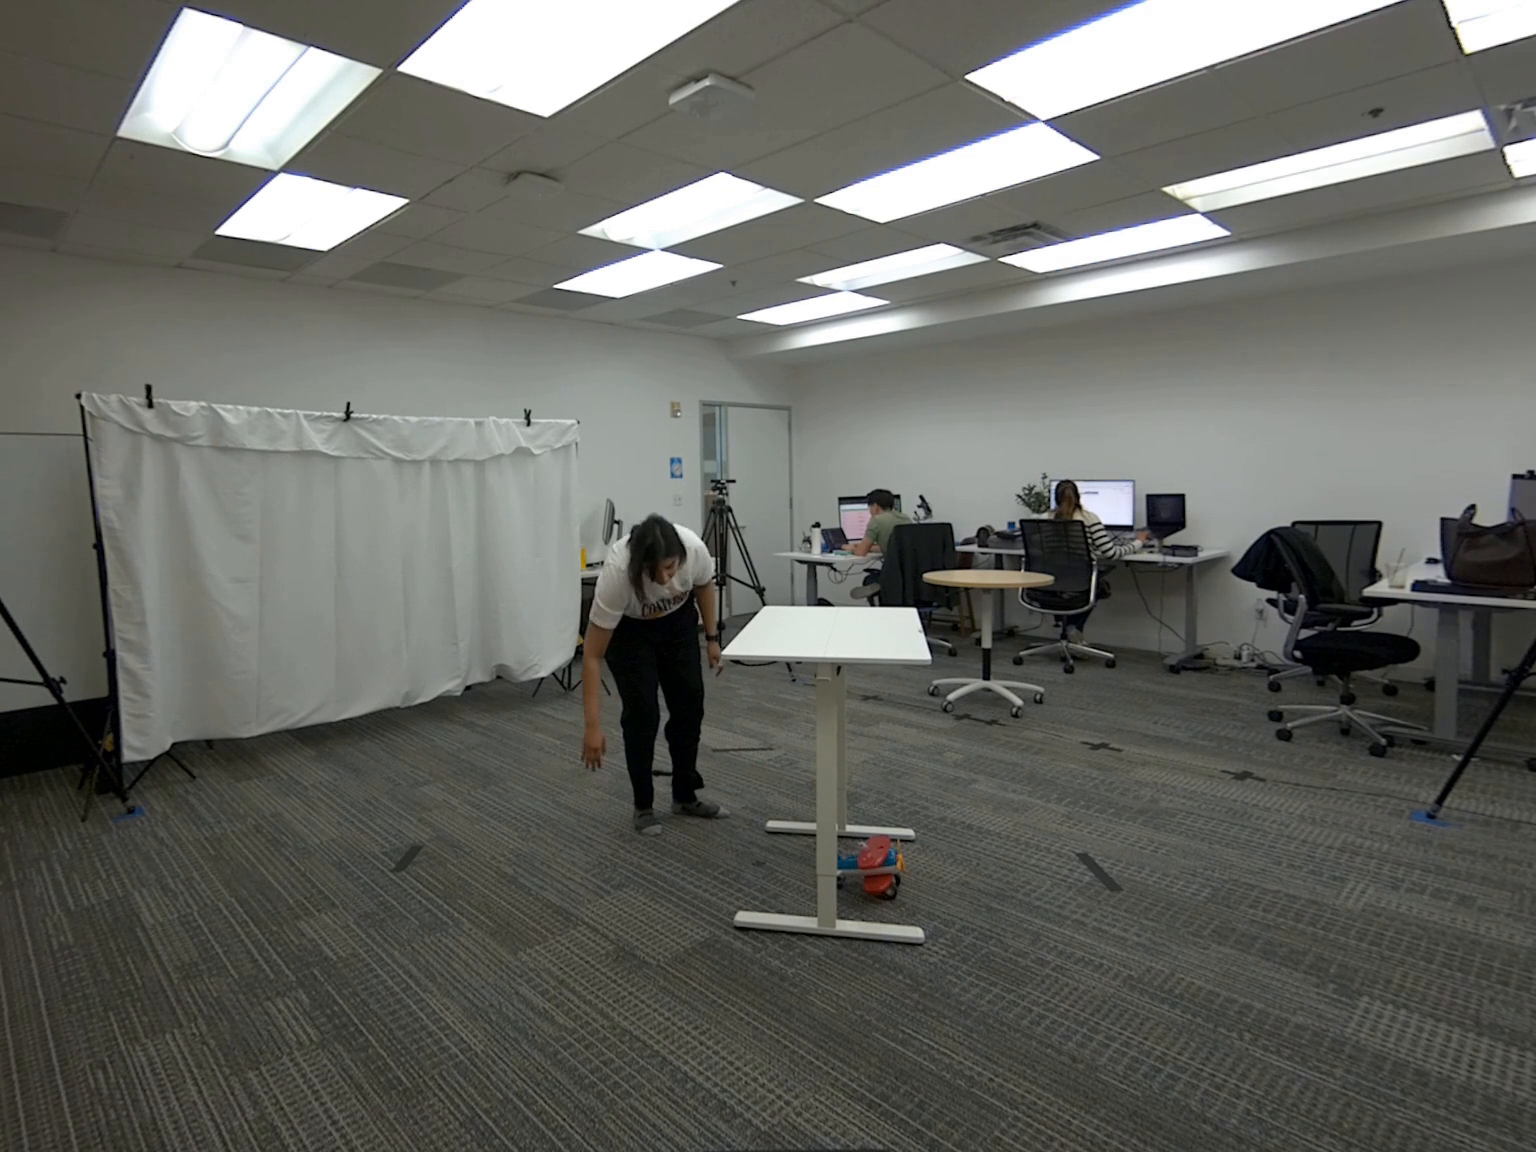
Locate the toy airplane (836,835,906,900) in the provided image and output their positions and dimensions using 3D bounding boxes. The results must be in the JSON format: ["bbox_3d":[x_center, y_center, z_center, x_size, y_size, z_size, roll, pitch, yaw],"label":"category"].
[{"bbox_3d":[0.335,0.992,2.879,0.257,0.156,0.254,-1,5,-10],"label":"toy airplane"}]
